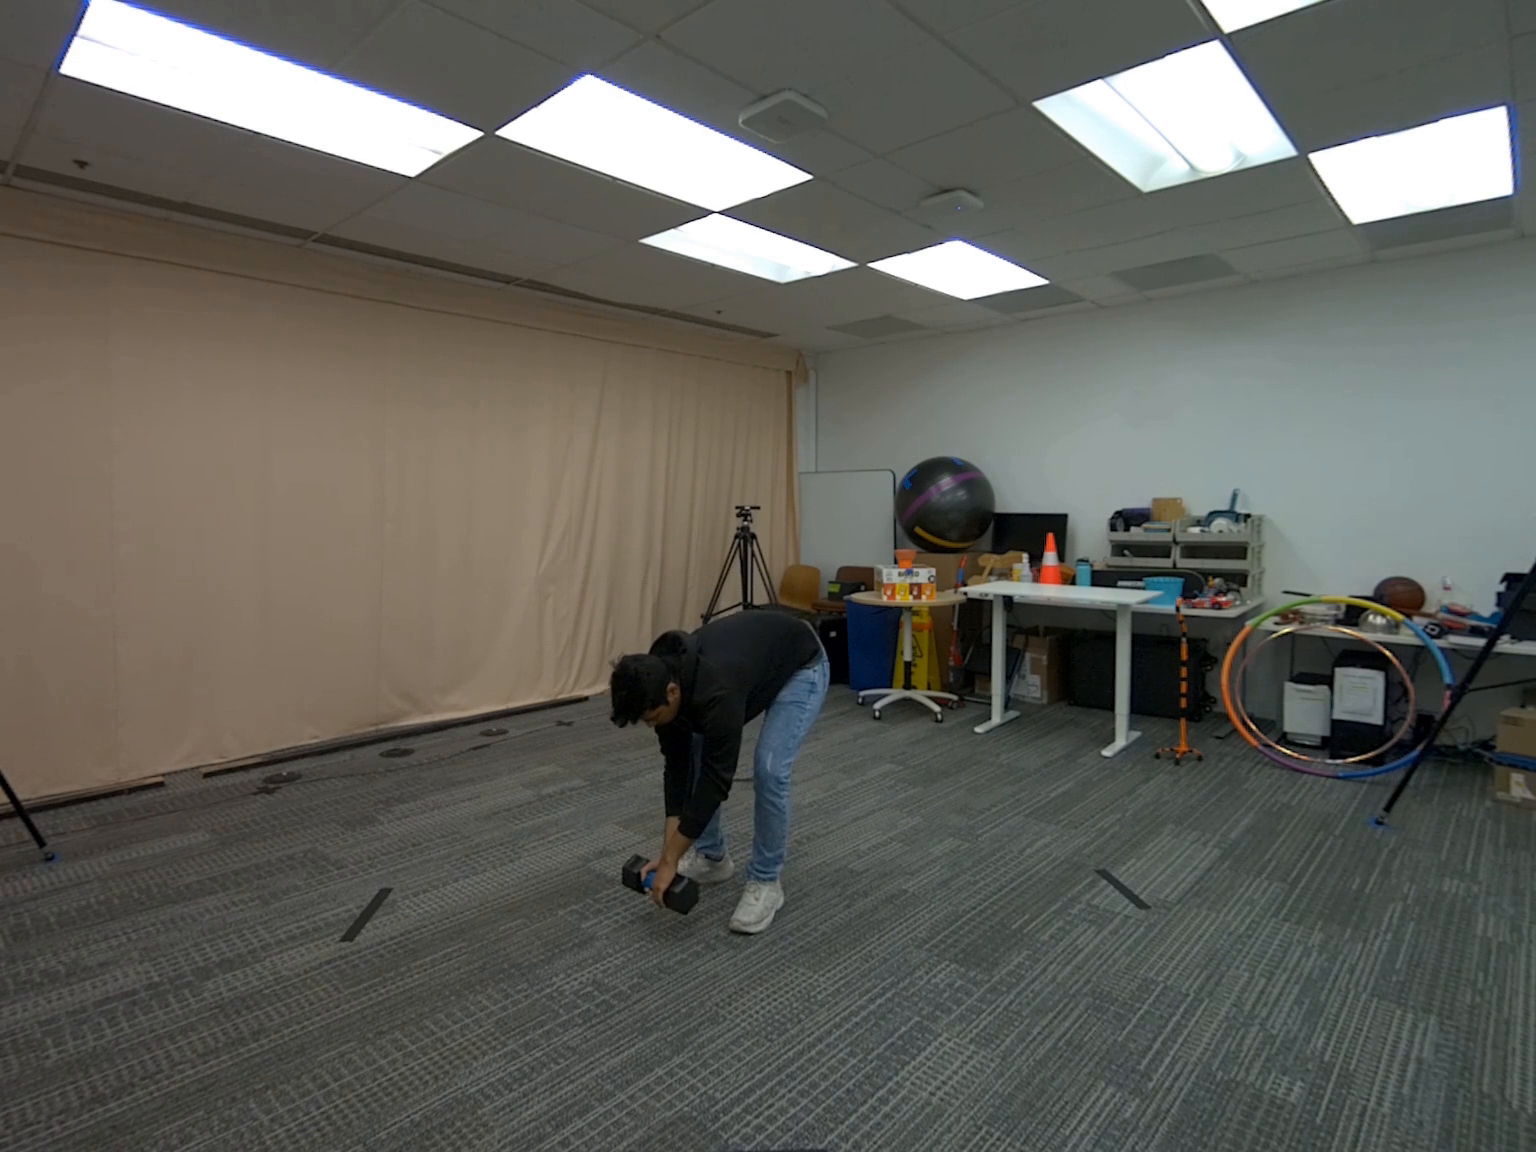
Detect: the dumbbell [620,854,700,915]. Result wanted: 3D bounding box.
[{"bbox_3d":[-0.352,1.010,2.775,0.303,0.109,0.118,3,-28,44],"label":"dumbbell"}]
